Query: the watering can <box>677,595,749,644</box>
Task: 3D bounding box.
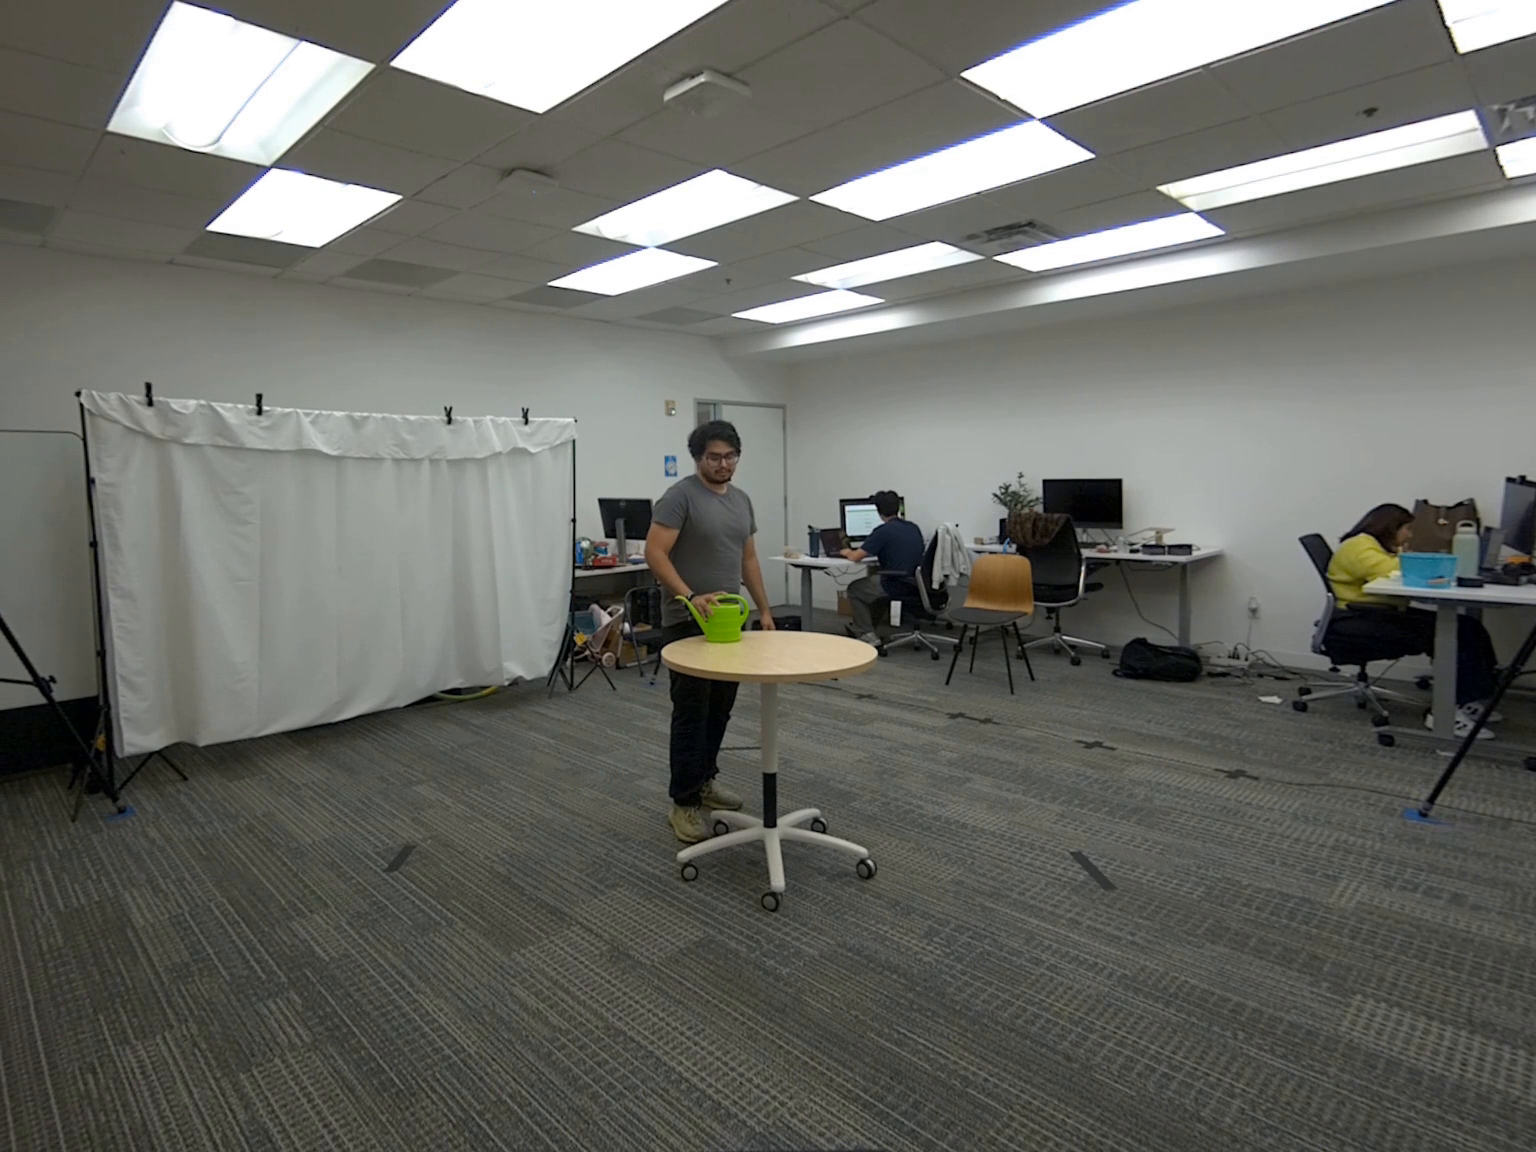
[{"bbox_3d":[-0.214,0.163,3.225,0.277,0.176,0.099,3,5,-6],"label":"watering can"}]
